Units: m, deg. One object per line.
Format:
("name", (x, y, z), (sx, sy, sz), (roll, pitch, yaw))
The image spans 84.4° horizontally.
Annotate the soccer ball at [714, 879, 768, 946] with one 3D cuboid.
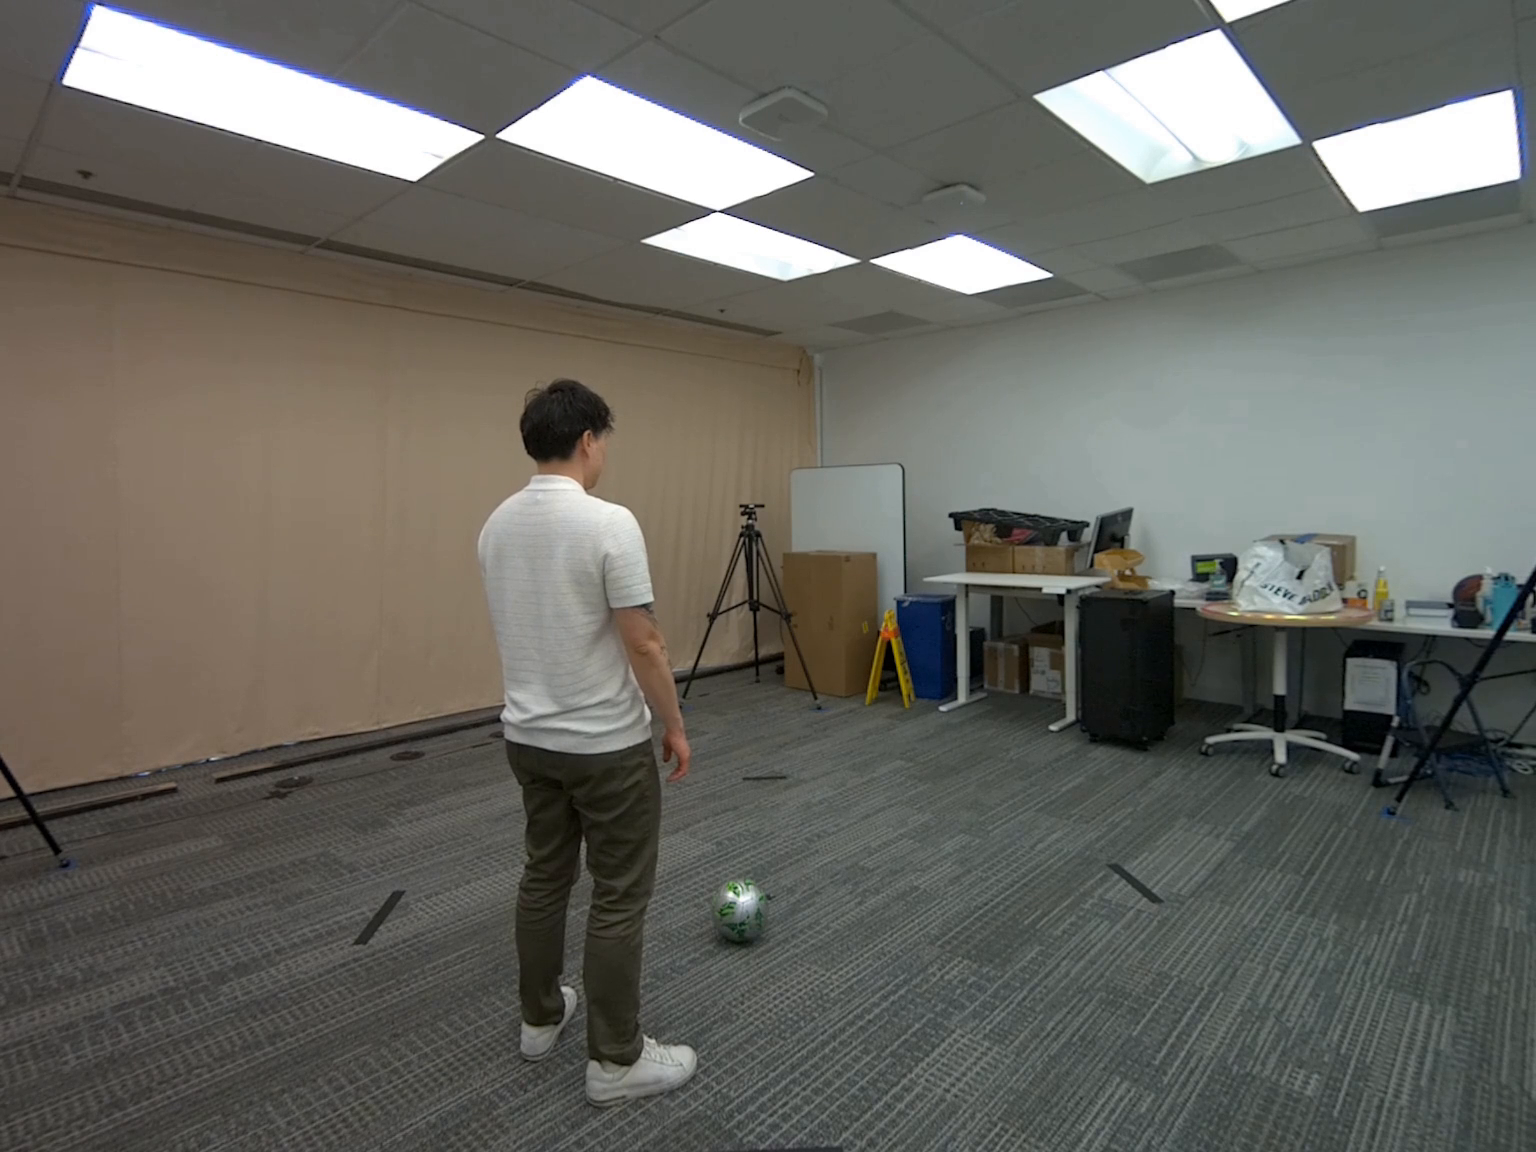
("soccer ball", (-0.086, 1.071, 2.705), (0.187, 0.187, 0.188), (-1, 4, -2))
